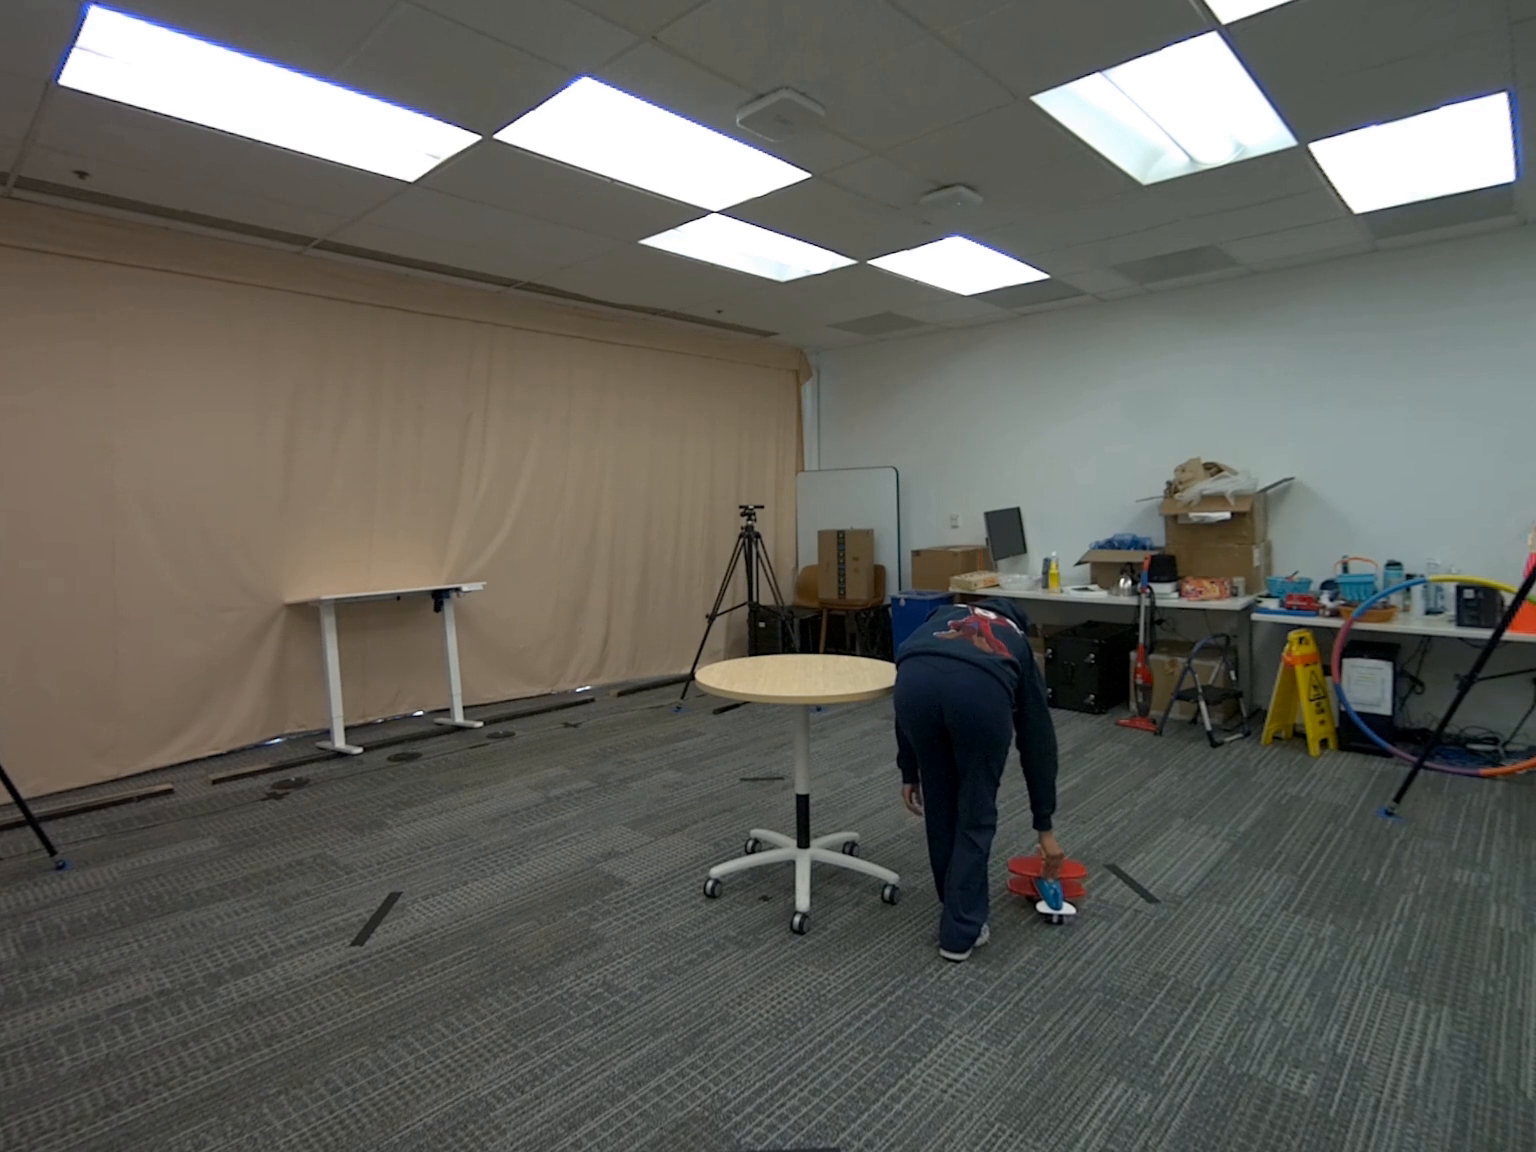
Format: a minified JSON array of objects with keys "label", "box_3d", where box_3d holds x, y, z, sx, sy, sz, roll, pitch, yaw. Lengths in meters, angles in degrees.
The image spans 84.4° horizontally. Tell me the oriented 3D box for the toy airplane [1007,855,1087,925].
[{"label":"toy airplane","box_3d":[0.979,1.067,2.845,0.246,0.156,0.265,-2,4,-22]}]
